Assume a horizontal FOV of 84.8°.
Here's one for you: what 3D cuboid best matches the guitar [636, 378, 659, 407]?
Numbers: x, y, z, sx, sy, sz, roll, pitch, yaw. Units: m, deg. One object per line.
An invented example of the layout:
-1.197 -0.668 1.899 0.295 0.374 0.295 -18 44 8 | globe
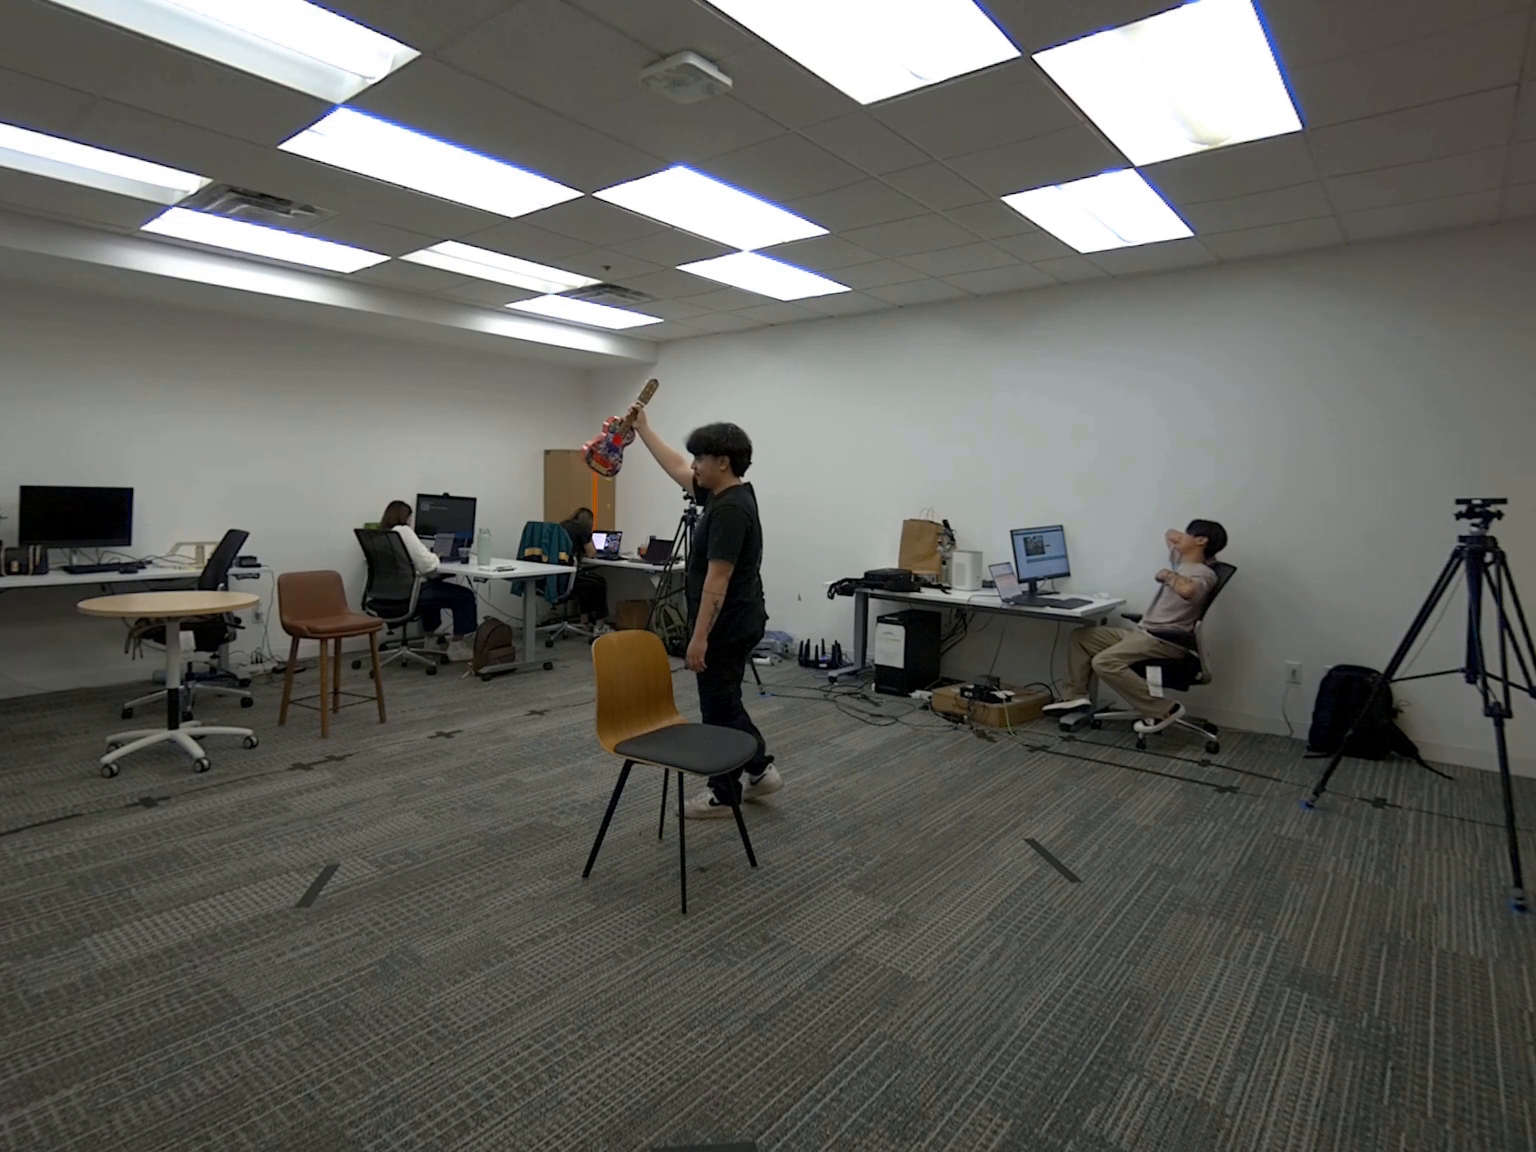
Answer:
-0.647 -0.674 3.885 0.185 0.498 0.073 43 -8 -33 | guitar
